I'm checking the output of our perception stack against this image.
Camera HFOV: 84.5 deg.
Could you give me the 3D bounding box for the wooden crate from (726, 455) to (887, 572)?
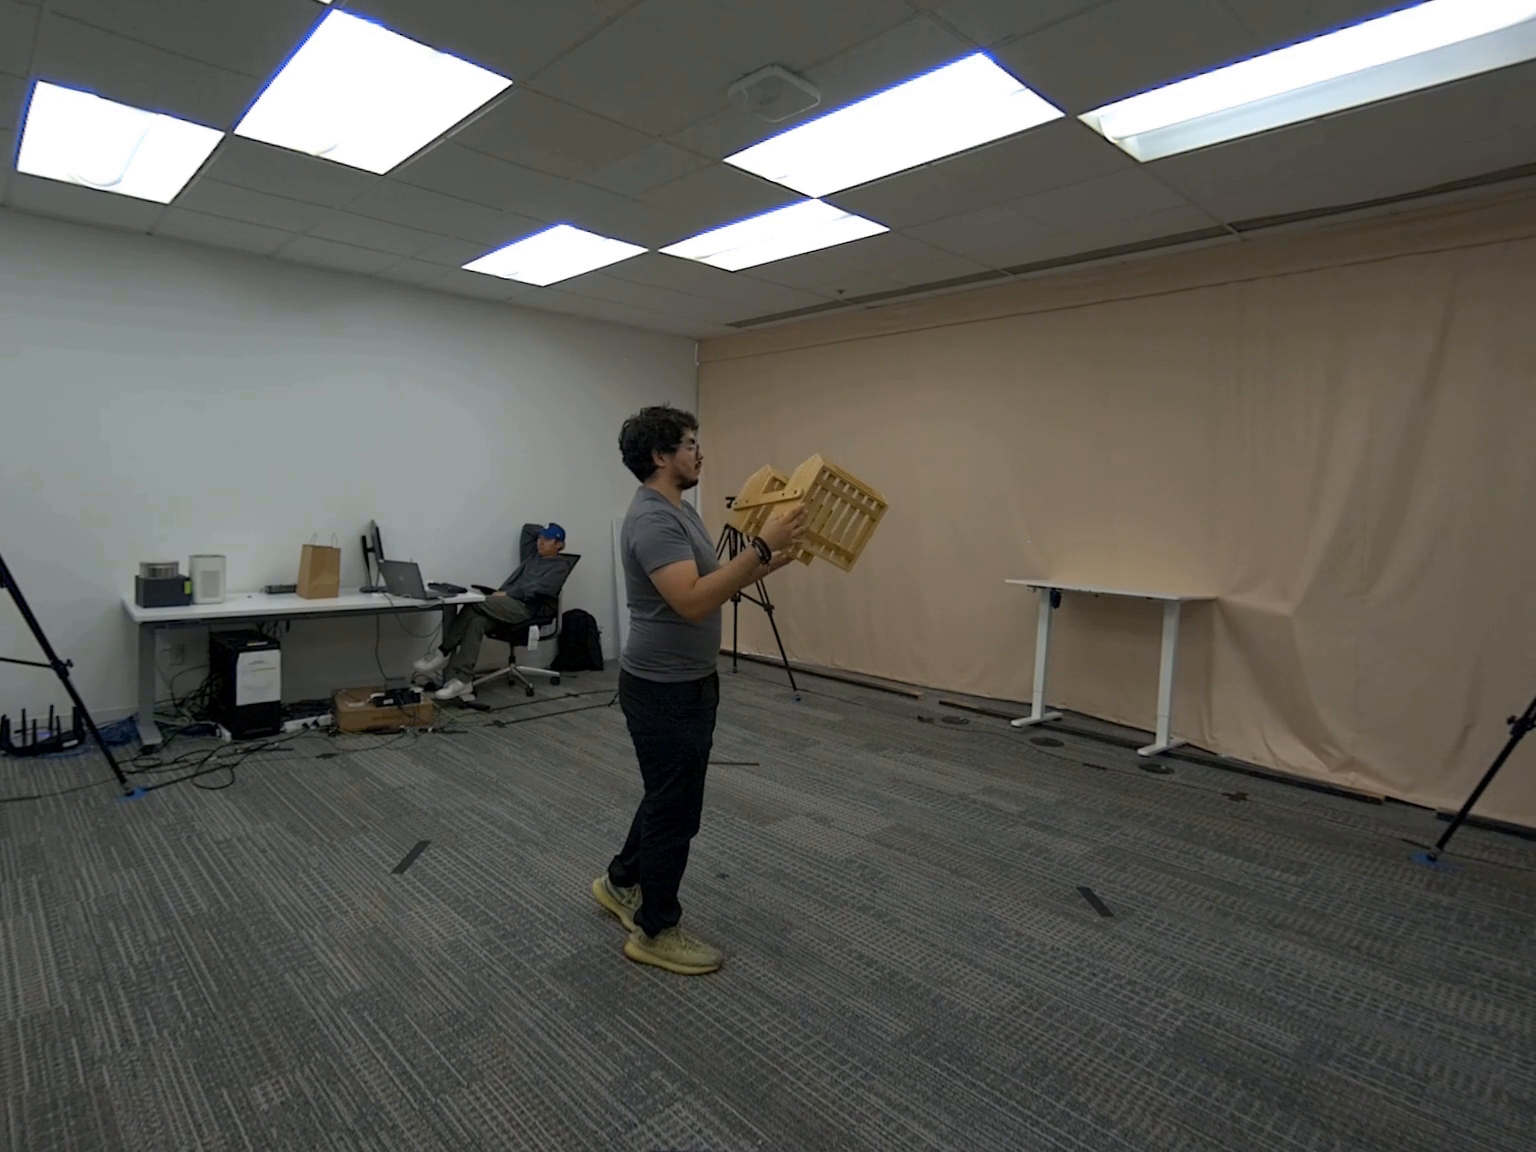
[{"bbox_3d":[0.108,-0.196,2.491,0.315,0.302,0.282,26,5,-39],"label":"wooden crate"}]
